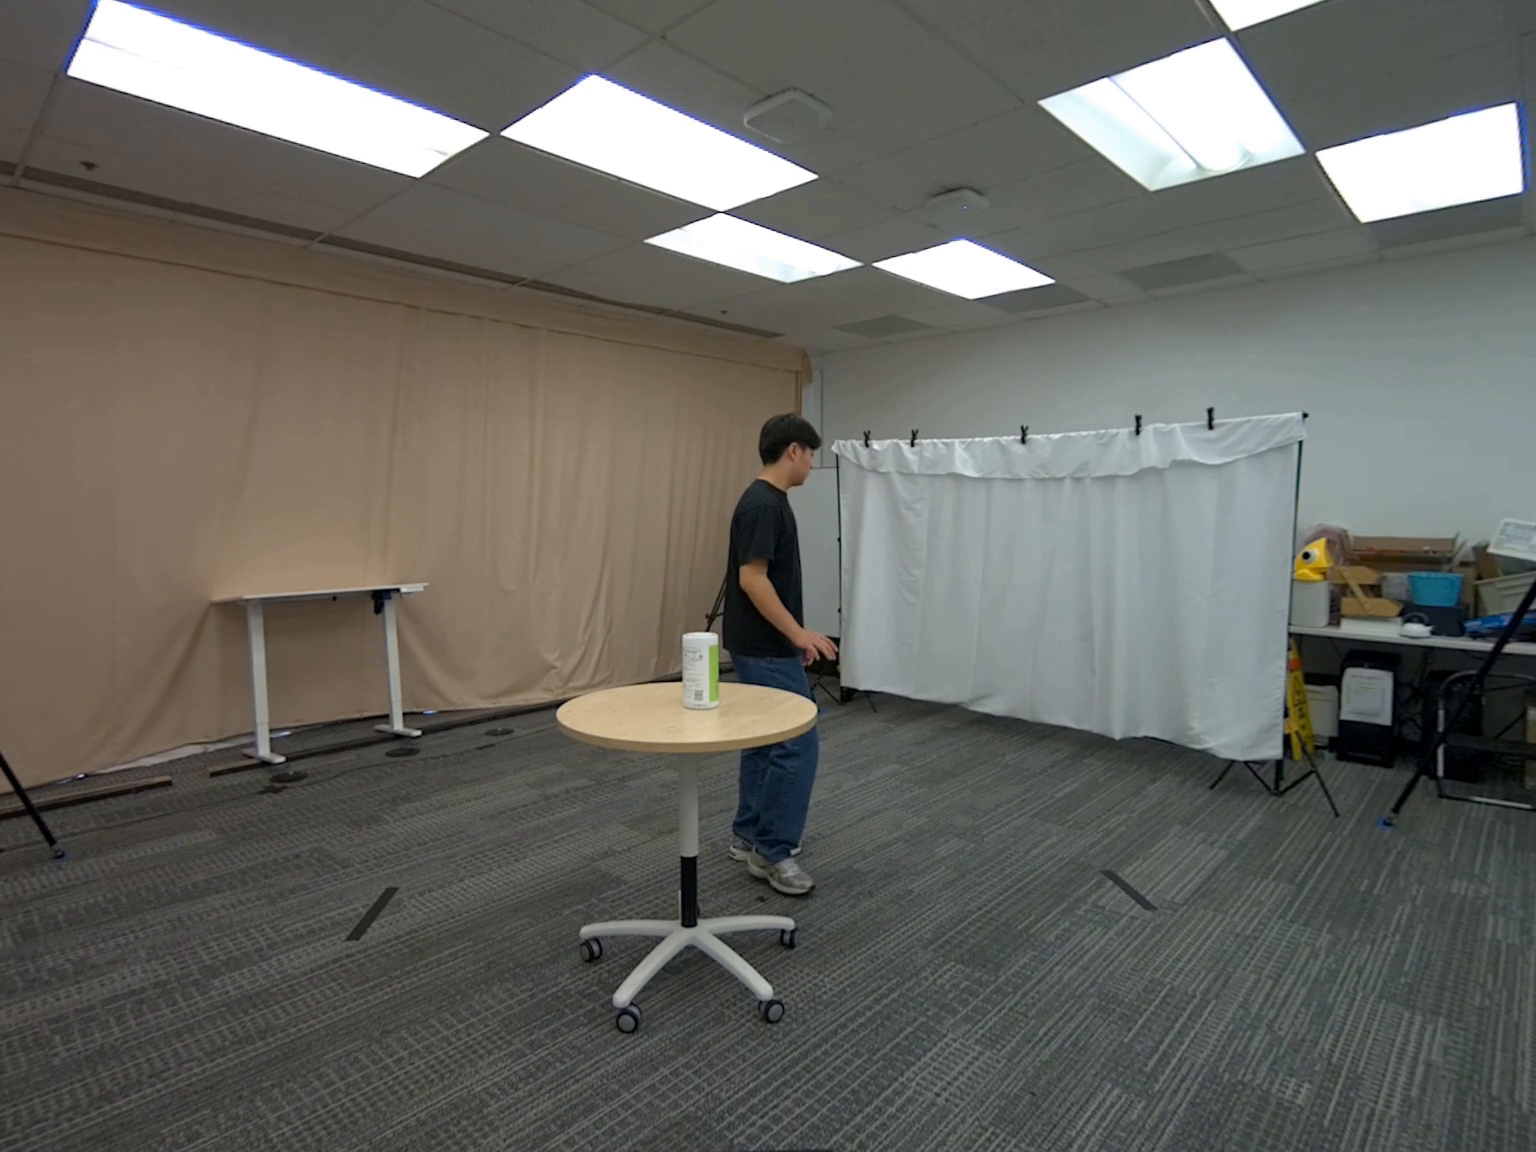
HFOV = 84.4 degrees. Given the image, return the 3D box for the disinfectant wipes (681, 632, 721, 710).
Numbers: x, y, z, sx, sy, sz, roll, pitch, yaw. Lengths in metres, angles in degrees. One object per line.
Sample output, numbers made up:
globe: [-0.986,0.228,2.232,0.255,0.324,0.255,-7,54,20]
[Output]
disinfectant wipes: [-0.200,0.284,2.507,0.118,0.217,0.118,-1,1,-2]
